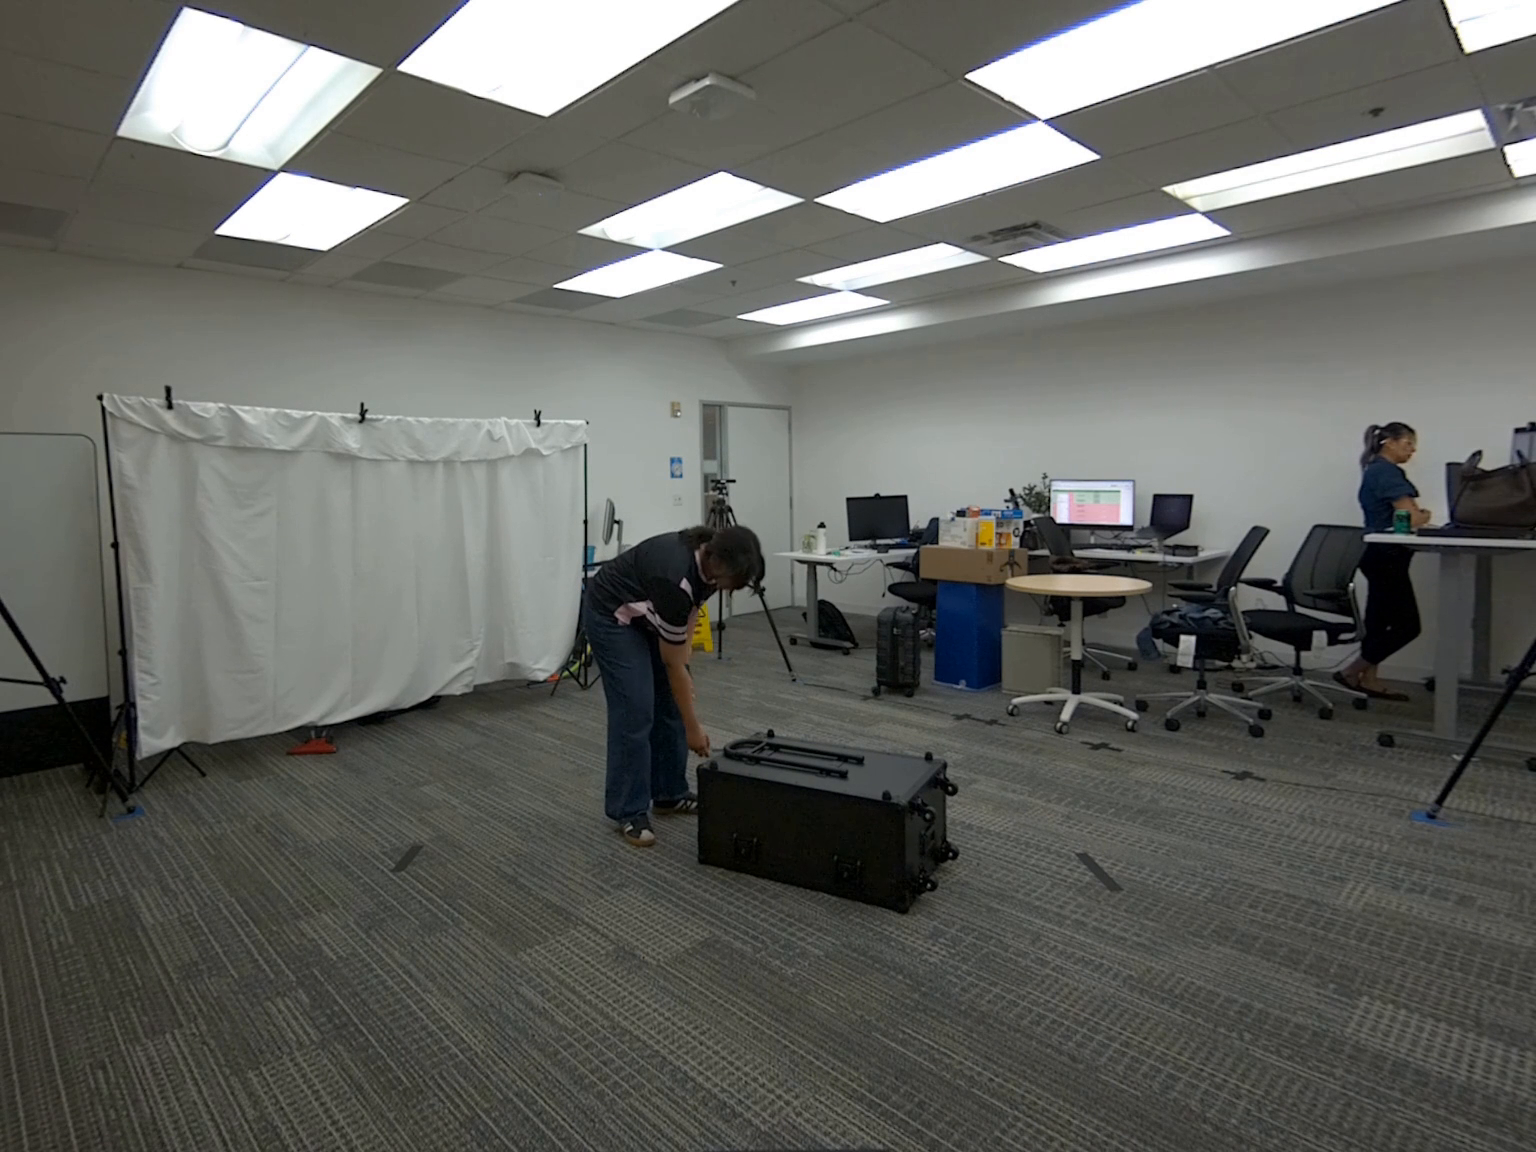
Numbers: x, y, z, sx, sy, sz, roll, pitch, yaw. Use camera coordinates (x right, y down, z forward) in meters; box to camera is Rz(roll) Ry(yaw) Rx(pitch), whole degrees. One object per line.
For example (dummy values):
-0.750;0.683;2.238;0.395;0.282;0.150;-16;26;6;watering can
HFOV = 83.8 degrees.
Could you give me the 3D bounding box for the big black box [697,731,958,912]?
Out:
0.236;0.846;3.097;0.884;0.394;0.510;3;6;28;big black box
